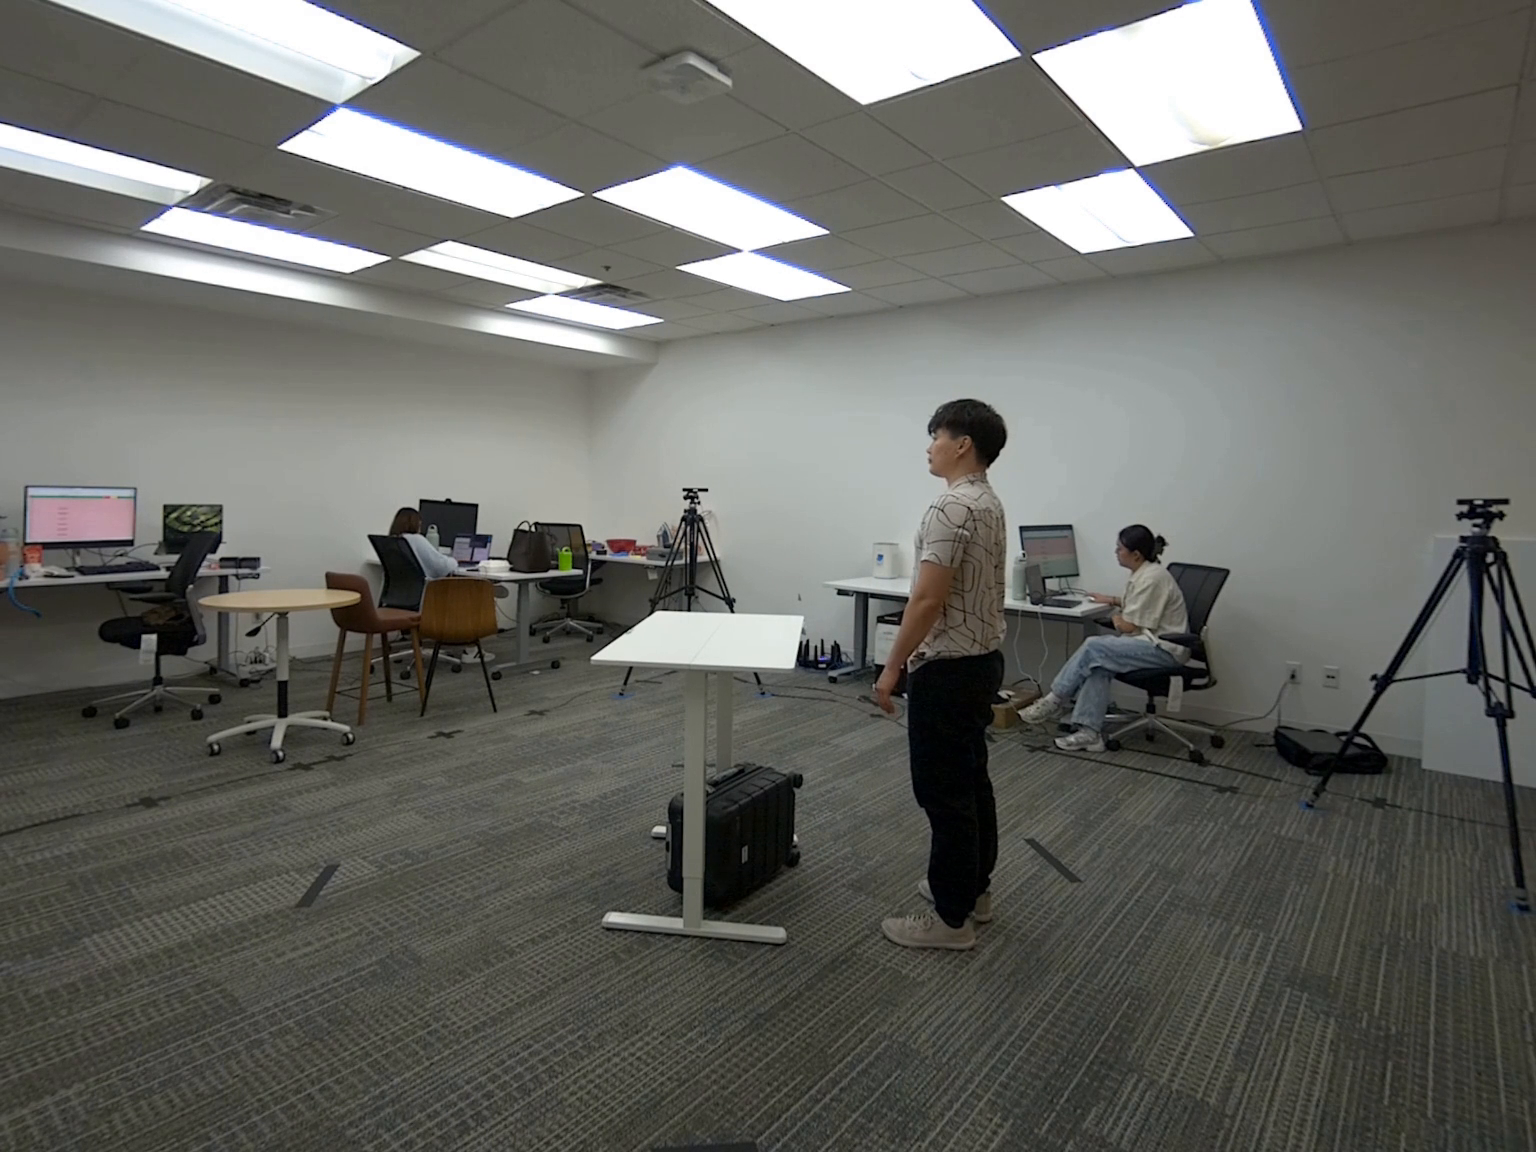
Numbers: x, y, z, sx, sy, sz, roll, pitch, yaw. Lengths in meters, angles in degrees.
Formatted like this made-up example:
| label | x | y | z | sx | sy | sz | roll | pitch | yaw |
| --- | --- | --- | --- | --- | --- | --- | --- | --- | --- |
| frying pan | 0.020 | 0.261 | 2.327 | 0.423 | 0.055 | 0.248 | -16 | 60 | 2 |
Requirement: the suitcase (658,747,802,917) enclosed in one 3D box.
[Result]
| label | x | y | z | sx | sy | sz | roll | pitch | yaw |
| --- | --- | --- | --- | --- | --- | --- | --- | --- | --- |
| suitcase | -0.123 | 0.884 | 3.002 | 0.256 | 0.374 | 0.535 | 3 | 4 | 31 |
